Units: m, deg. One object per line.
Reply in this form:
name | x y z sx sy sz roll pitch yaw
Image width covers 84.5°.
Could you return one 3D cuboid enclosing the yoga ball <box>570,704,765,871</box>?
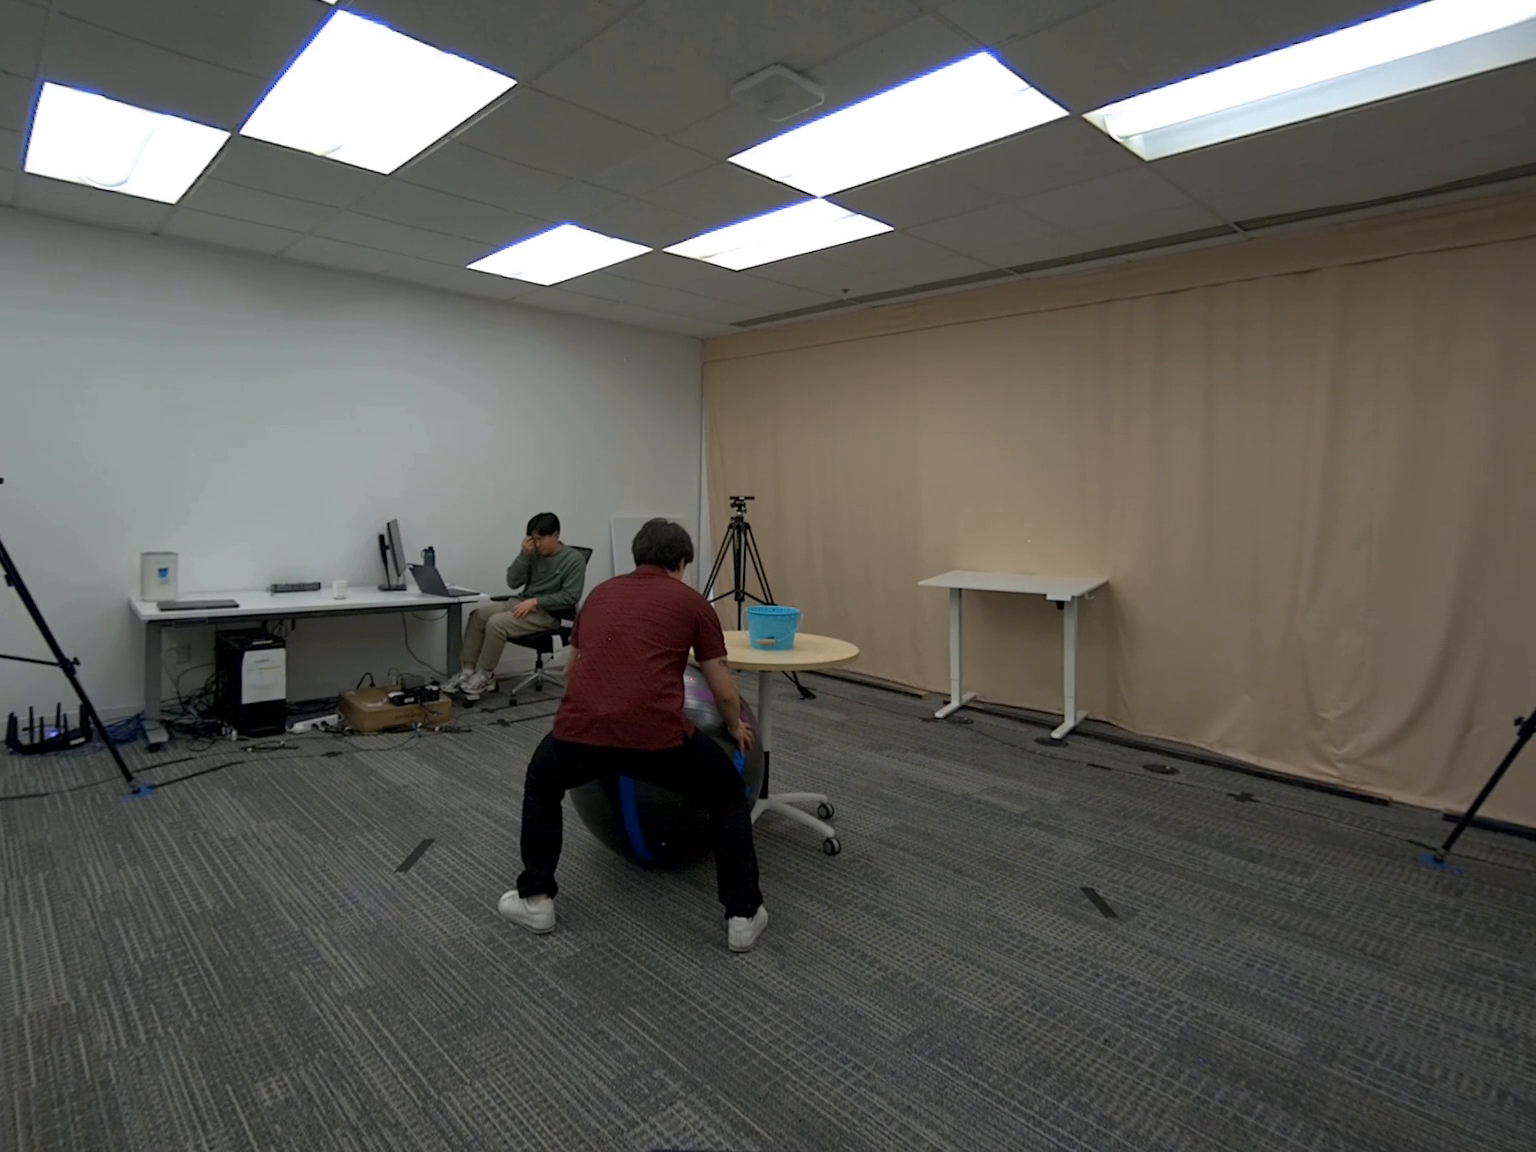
yoga ball | -0.406 0.727 3.246 0.757 0.756 0.761 1 4 -1
